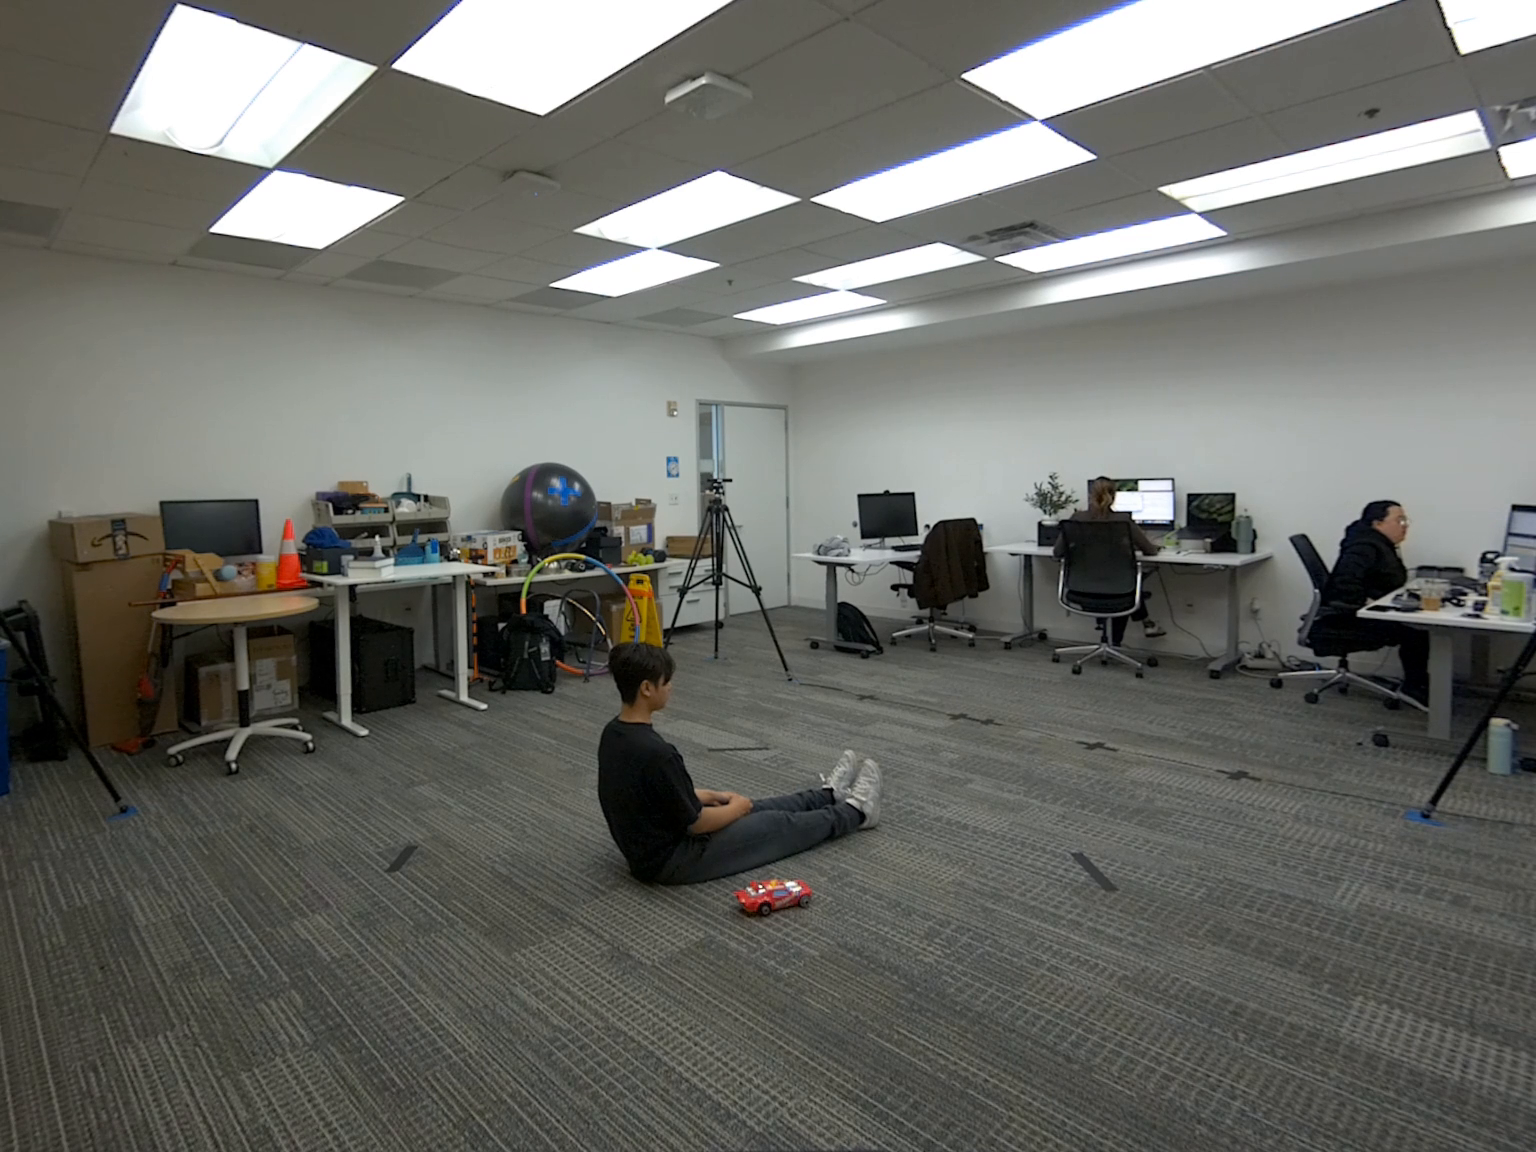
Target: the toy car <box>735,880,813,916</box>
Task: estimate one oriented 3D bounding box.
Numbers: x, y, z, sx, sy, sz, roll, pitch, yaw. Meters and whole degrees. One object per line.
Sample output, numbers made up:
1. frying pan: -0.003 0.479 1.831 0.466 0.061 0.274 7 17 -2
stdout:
1. toy car: 0.016 1.053 2.785 0.249 0.083 0.133 8 2 -21
